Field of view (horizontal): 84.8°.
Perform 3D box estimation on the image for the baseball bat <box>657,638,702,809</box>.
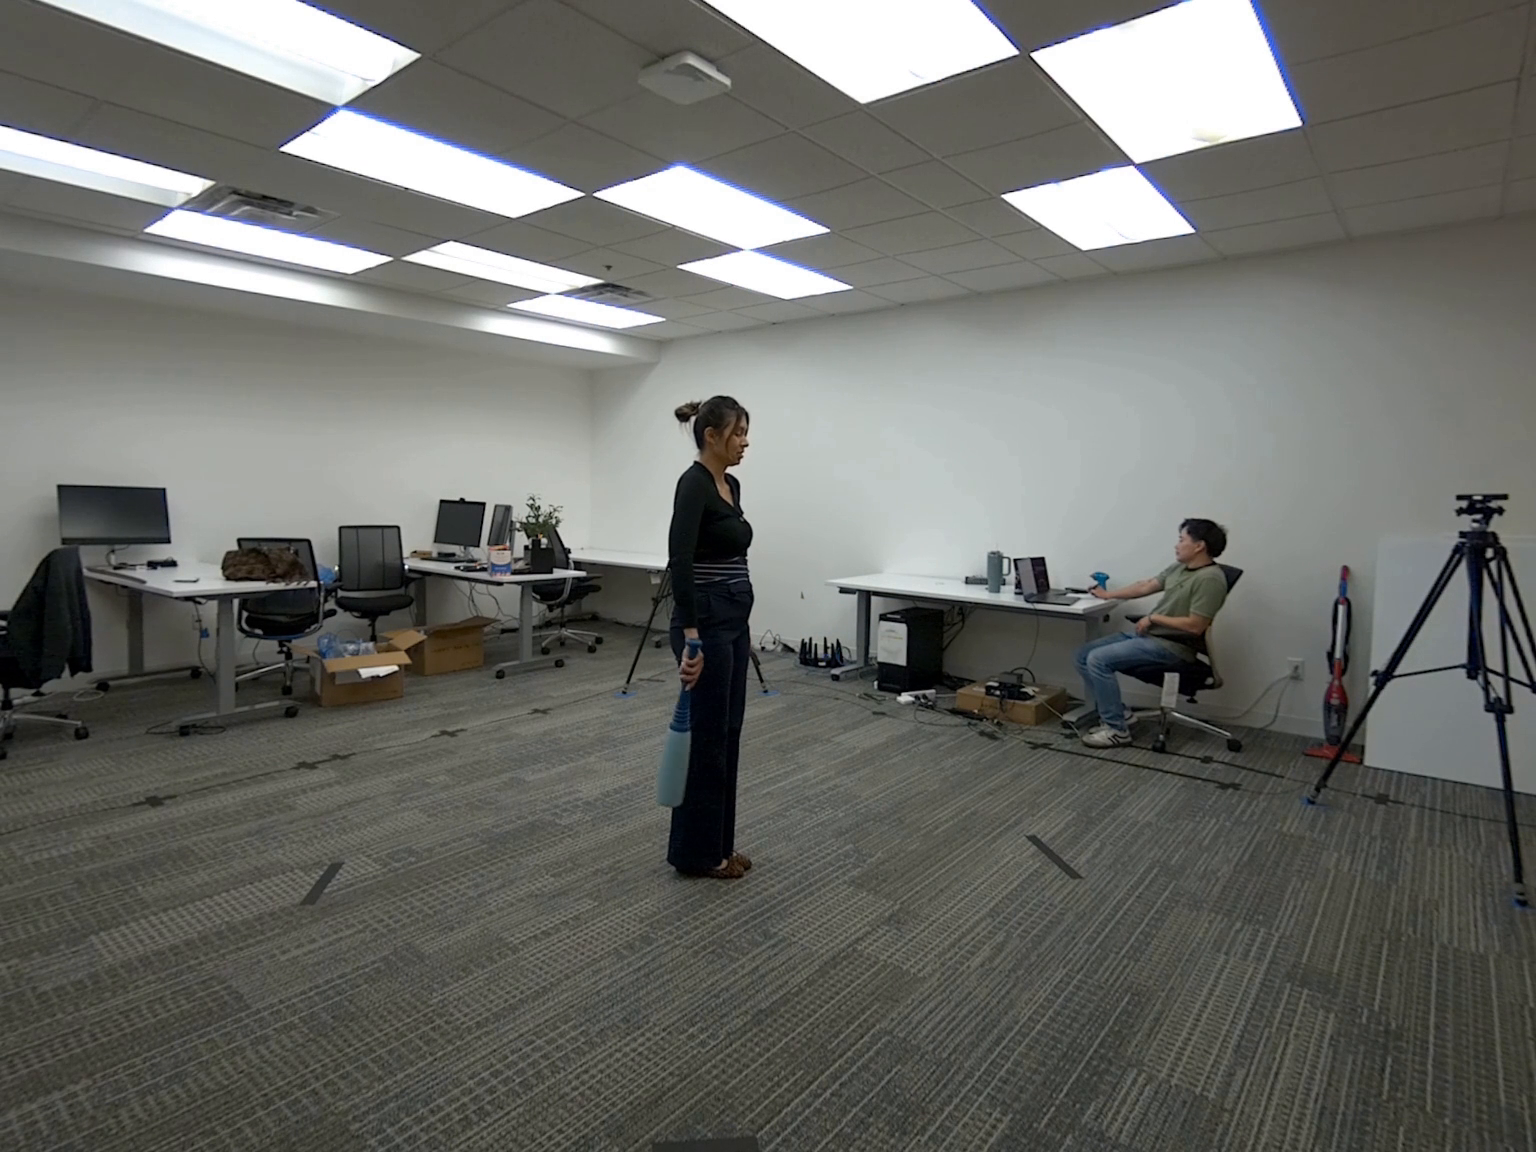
[{"bbox_3d":[-0.284,0.444,2.683,0.089,0.540,0.090,9,6,-3],"label":"baseball bat"}]
